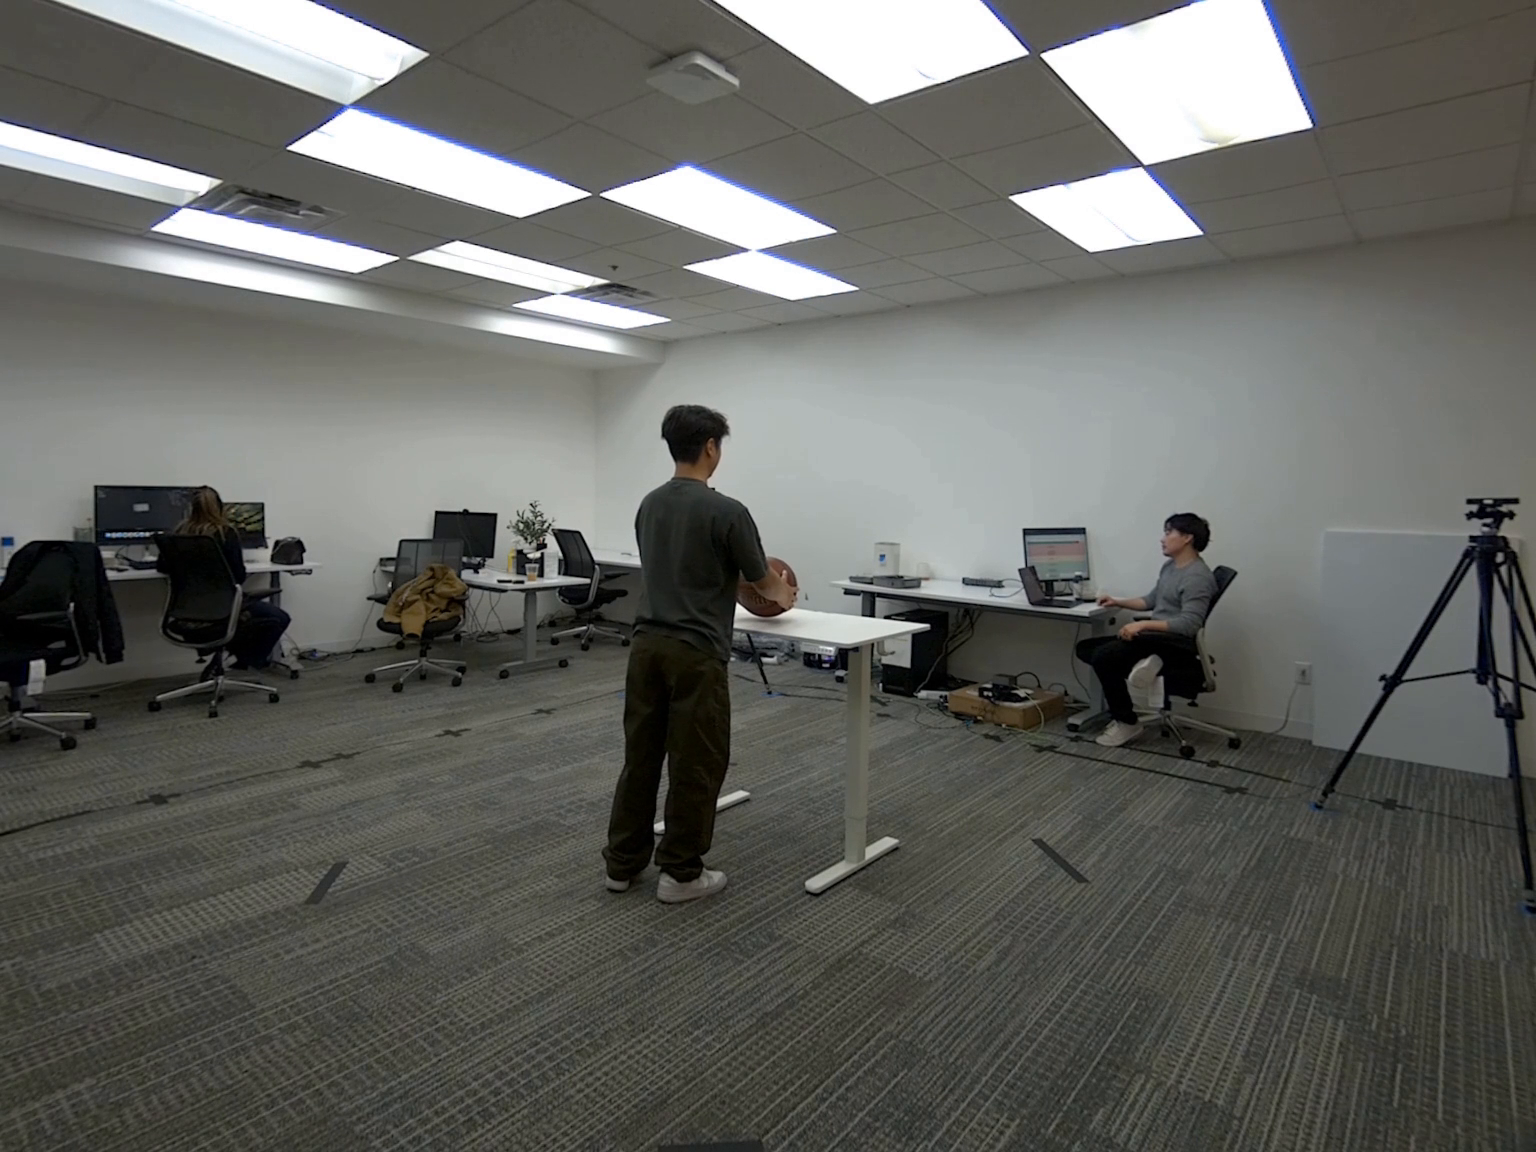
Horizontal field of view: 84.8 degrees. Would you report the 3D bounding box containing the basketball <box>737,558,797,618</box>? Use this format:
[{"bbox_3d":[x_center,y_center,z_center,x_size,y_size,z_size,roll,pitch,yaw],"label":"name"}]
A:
[{"bbox_3d":[-0.015,0.038,3.319,0.235,0.235,0.237,1,4,-2],"label":"basketball"}]
